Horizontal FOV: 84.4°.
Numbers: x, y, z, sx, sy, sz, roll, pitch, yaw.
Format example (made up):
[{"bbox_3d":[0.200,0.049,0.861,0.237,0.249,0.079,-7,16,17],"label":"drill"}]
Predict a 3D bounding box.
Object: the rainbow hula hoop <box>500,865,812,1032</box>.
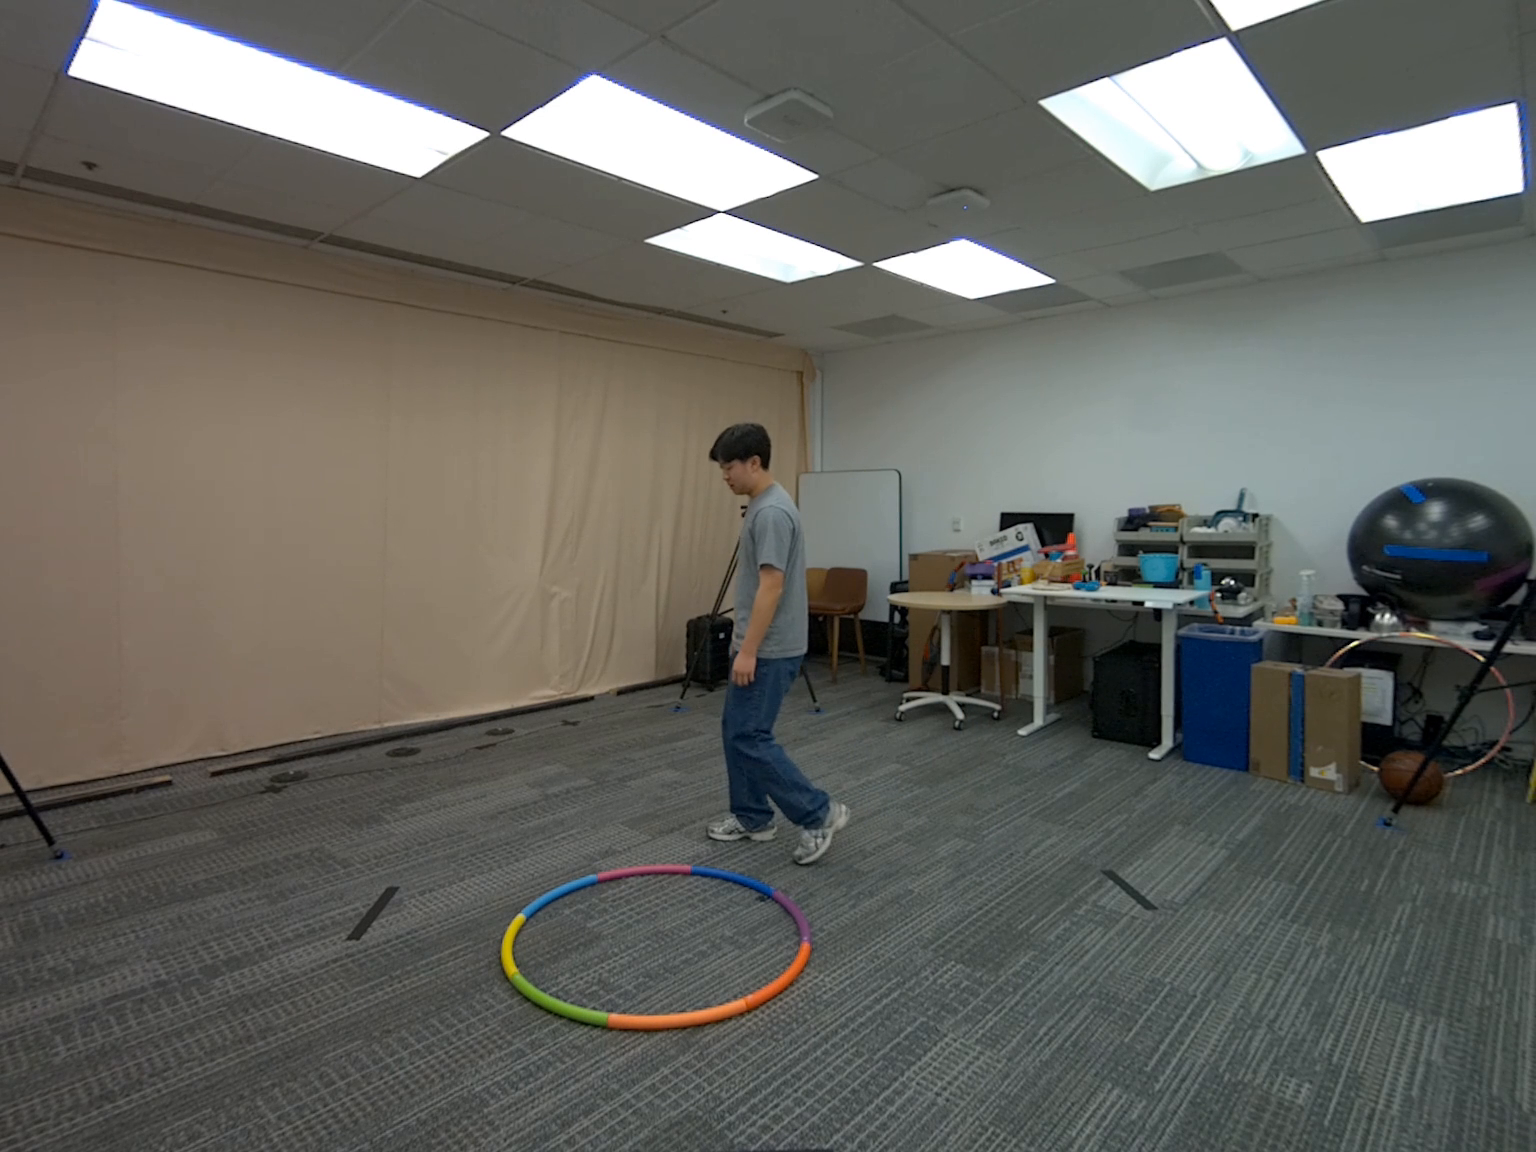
[{"bbox_3d":[-0.352,1.138,2.723,0.978,0.035,0.982,-1,5,-2],"label":"rainbow hula hoop"}]
